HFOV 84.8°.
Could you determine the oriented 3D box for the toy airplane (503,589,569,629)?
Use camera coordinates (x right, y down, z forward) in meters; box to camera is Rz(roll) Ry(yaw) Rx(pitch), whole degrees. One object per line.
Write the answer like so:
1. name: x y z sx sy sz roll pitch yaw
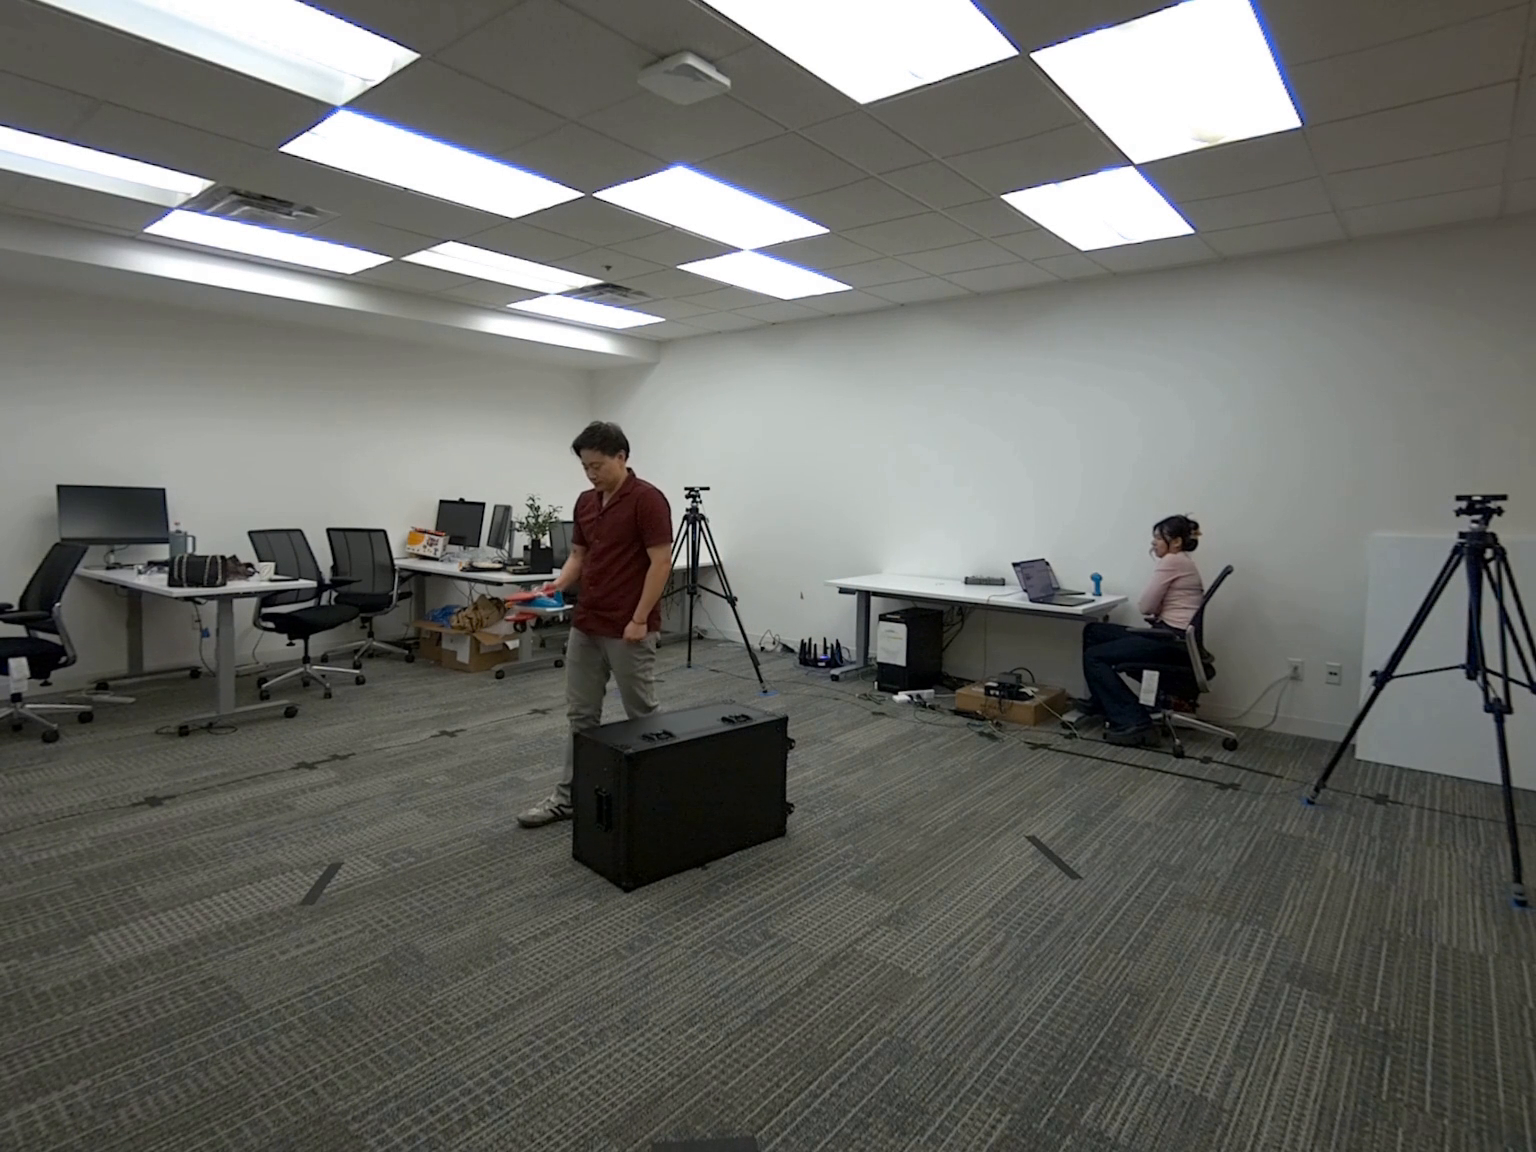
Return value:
1. toy airplane: -0.898 0.119 3.344 0.261 0.157 0.249 -13 -2 7
